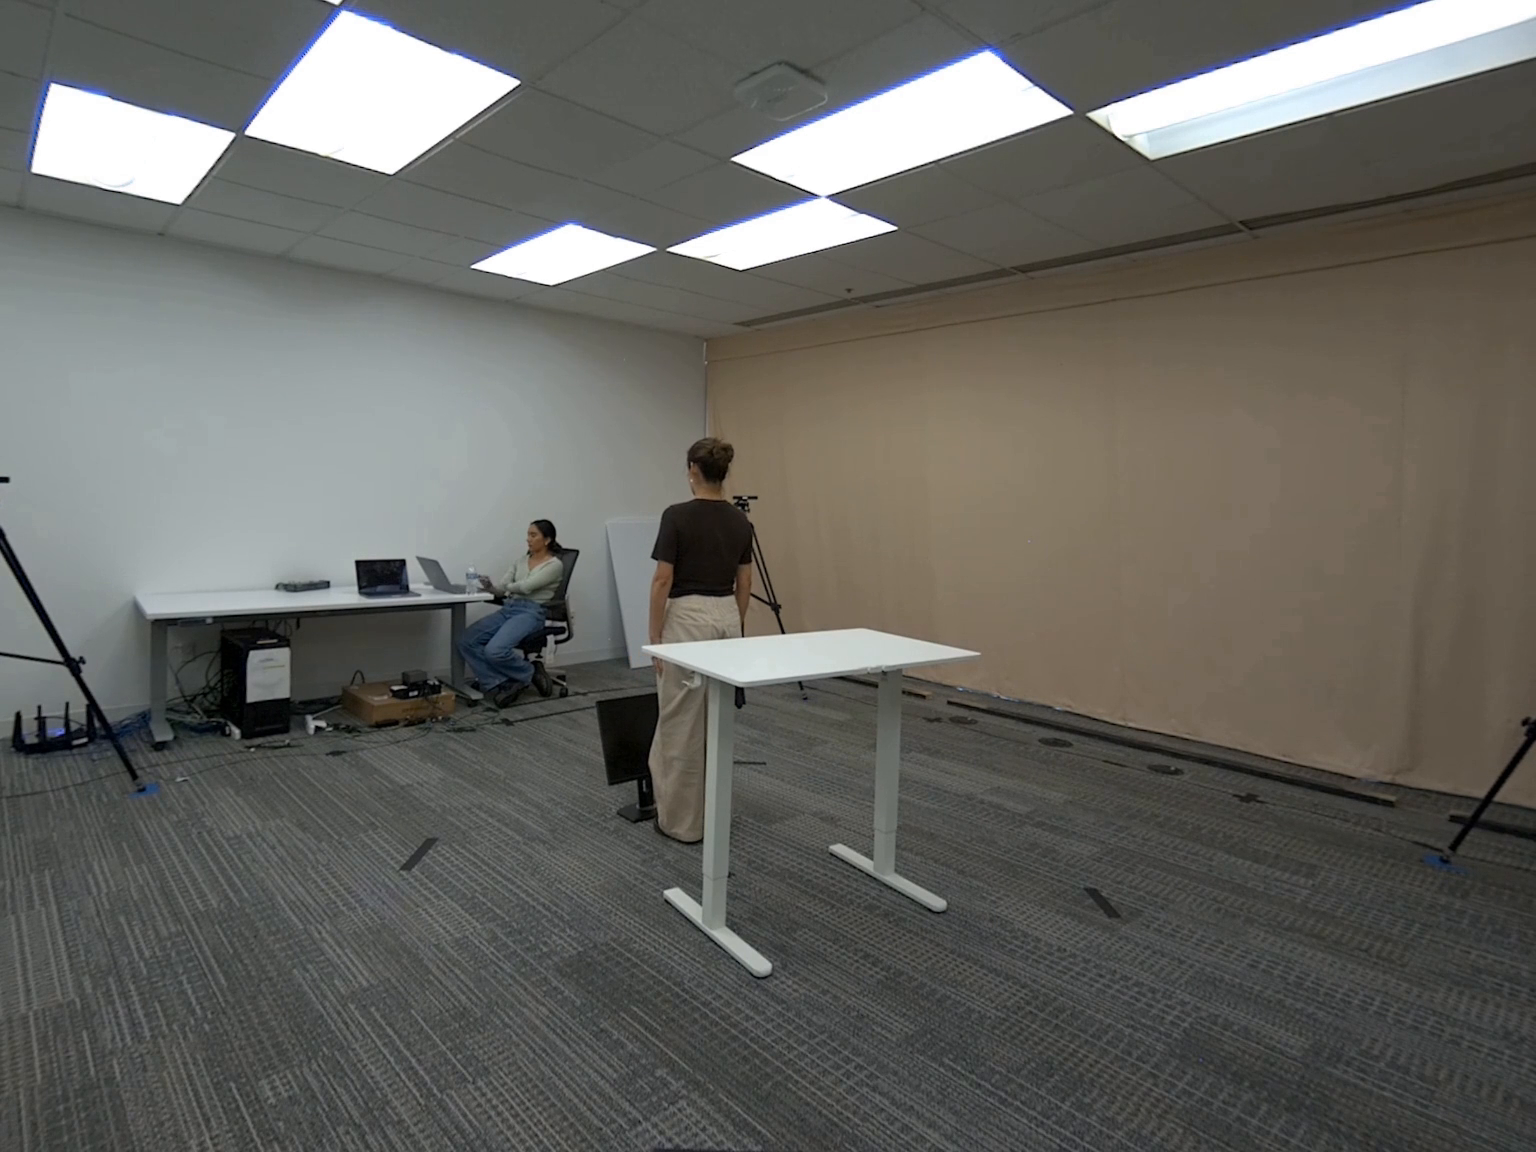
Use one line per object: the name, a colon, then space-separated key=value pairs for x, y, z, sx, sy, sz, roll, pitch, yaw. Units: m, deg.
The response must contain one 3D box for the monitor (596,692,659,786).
monitor: x=-0.537 y=0.786 z=3.728 sx=0.526 sy=0.523 sz=0.191 roll=-1 pitch=-2 yaw=-44
